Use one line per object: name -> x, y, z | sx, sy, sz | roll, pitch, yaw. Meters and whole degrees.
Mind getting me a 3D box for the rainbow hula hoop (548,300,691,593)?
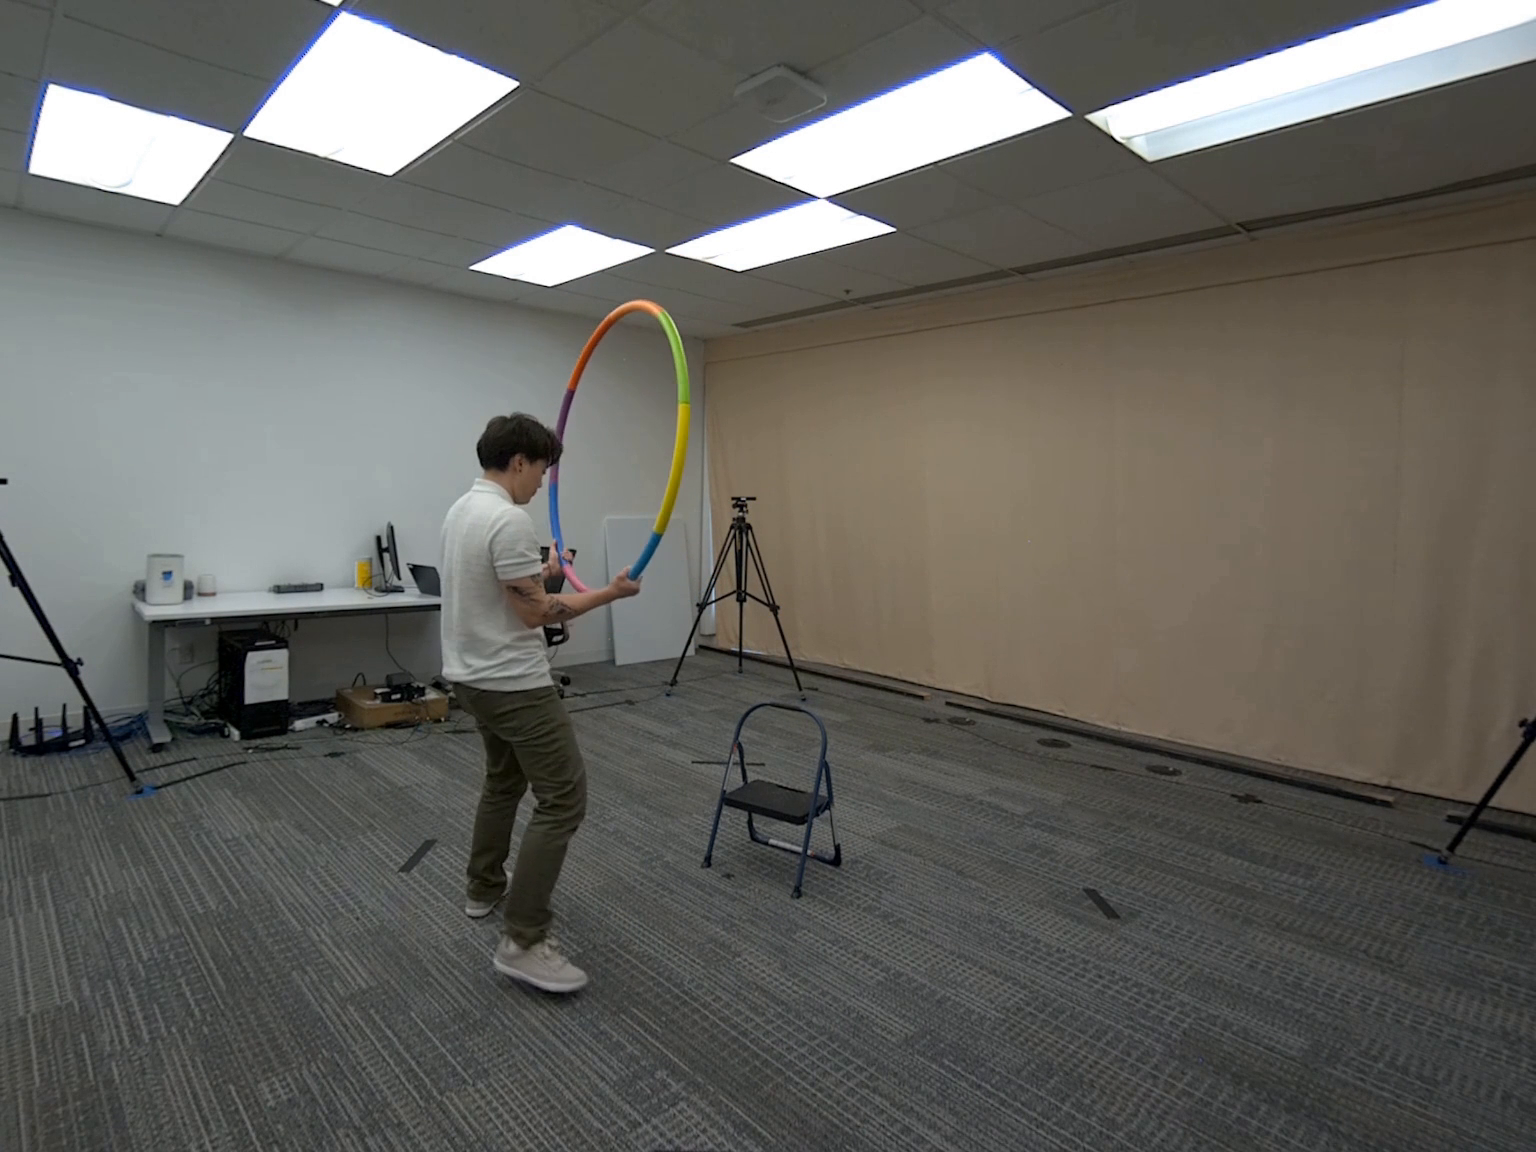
rainbow hula hoop -> -0.527, -0.401, 2.754 | 0.035, 0.979, 1.003 | 8, 0, -35
